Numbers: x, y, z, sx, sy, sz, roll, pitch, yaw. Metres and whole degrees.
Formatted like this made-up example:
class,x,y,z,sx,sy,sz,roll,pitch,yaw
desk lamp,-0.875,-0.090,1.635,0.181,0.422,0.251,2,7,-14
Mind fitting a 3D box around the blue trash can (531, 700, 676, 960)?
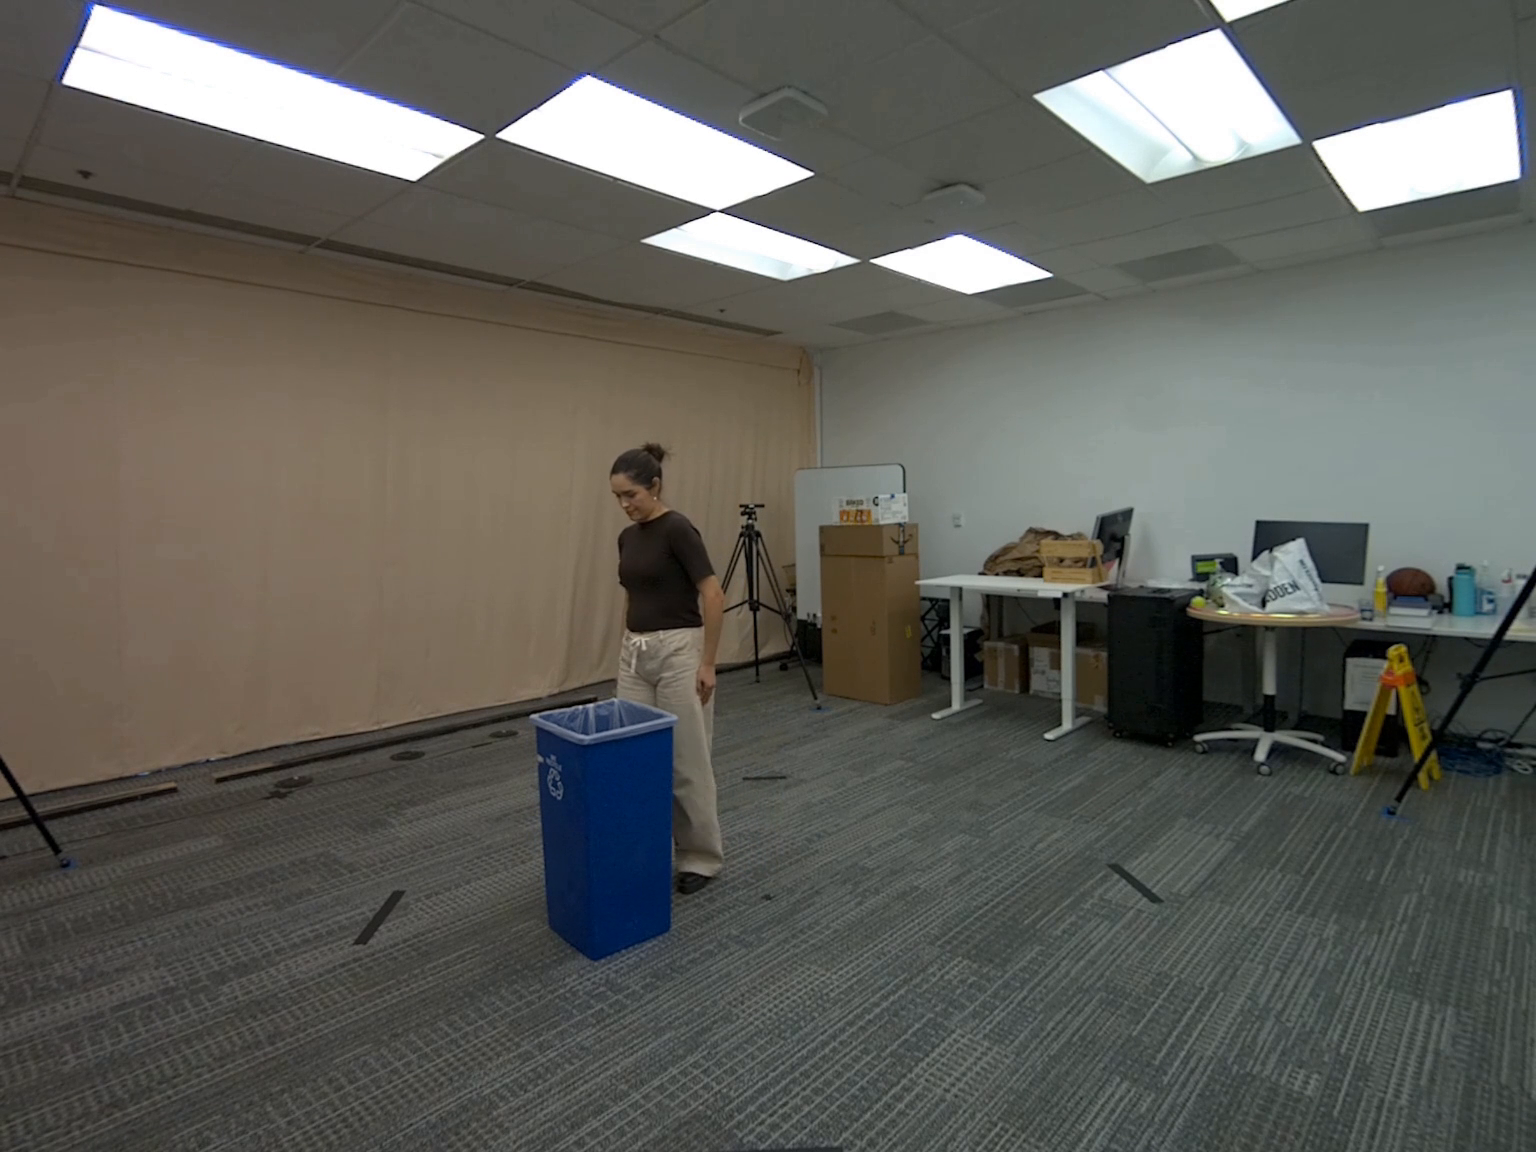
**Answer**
class,x,y,z,sx,sy,sz,roll,pitch,yaw
blue trash can,-0.534,0.812,2.760,0.363,0.712,0.390,-3,4,-41
